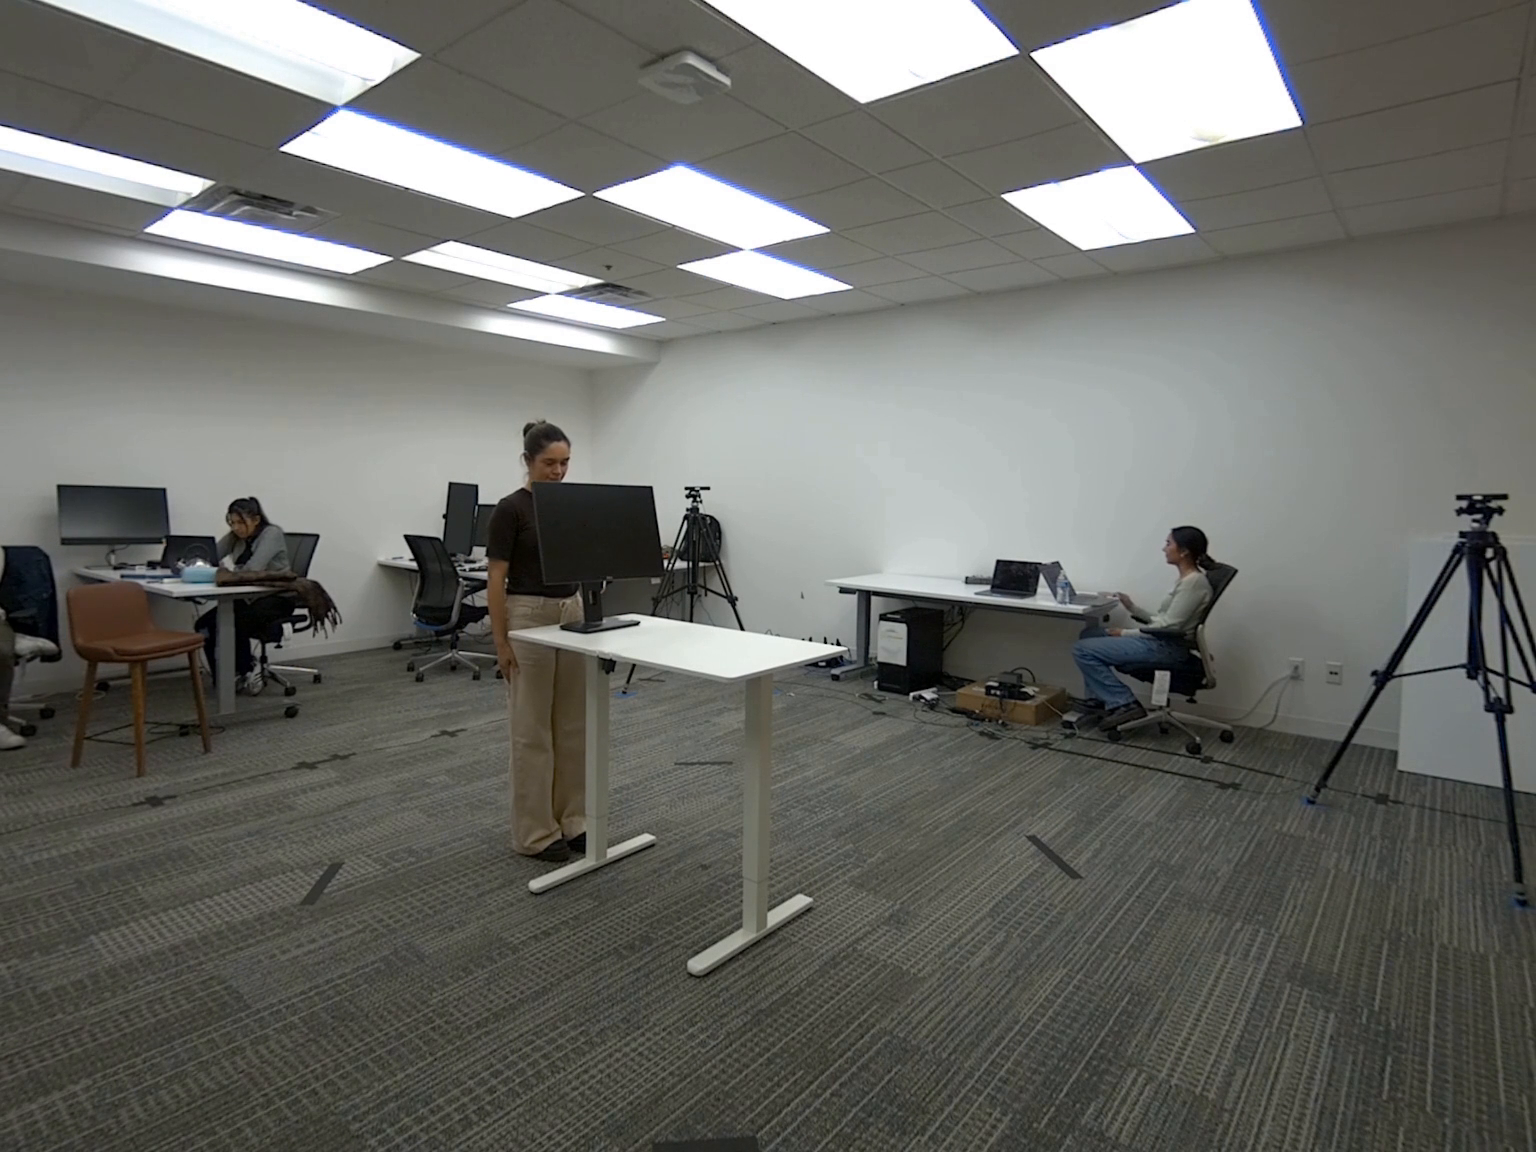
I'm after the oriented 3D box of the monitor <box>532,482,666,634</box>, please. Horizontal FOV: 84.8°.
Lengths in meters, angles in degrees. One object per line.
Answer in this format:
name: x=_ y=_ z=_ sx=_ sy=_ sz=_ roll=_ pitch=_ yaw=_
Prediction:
monitor: x=-0.629 y=-0.071 z=3.046 sx=0.193 sy=0.522 sz=0.523 roll=1 pitch=2 yaw=40
